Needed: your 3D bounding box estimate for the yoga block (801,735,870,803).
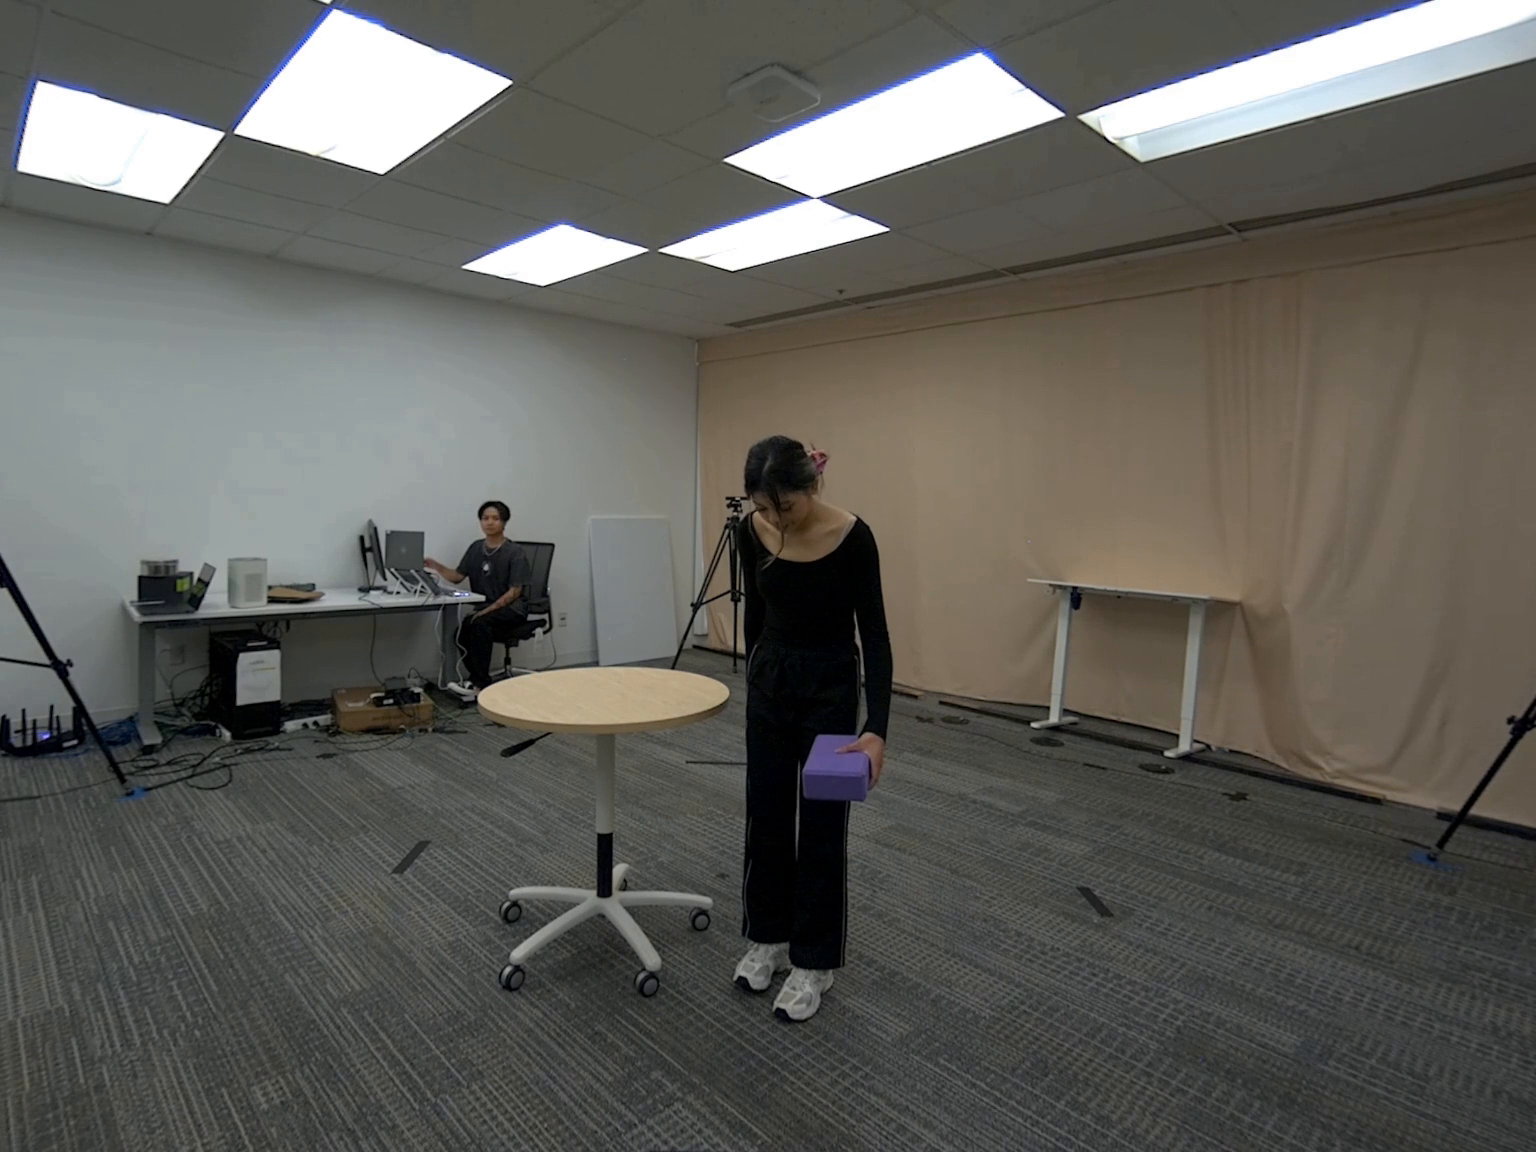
[{"bbox_3d":[0.162,0.480,2.063,0.151,0.076,0.228,0,11,16],"label":"yoga block"}]
